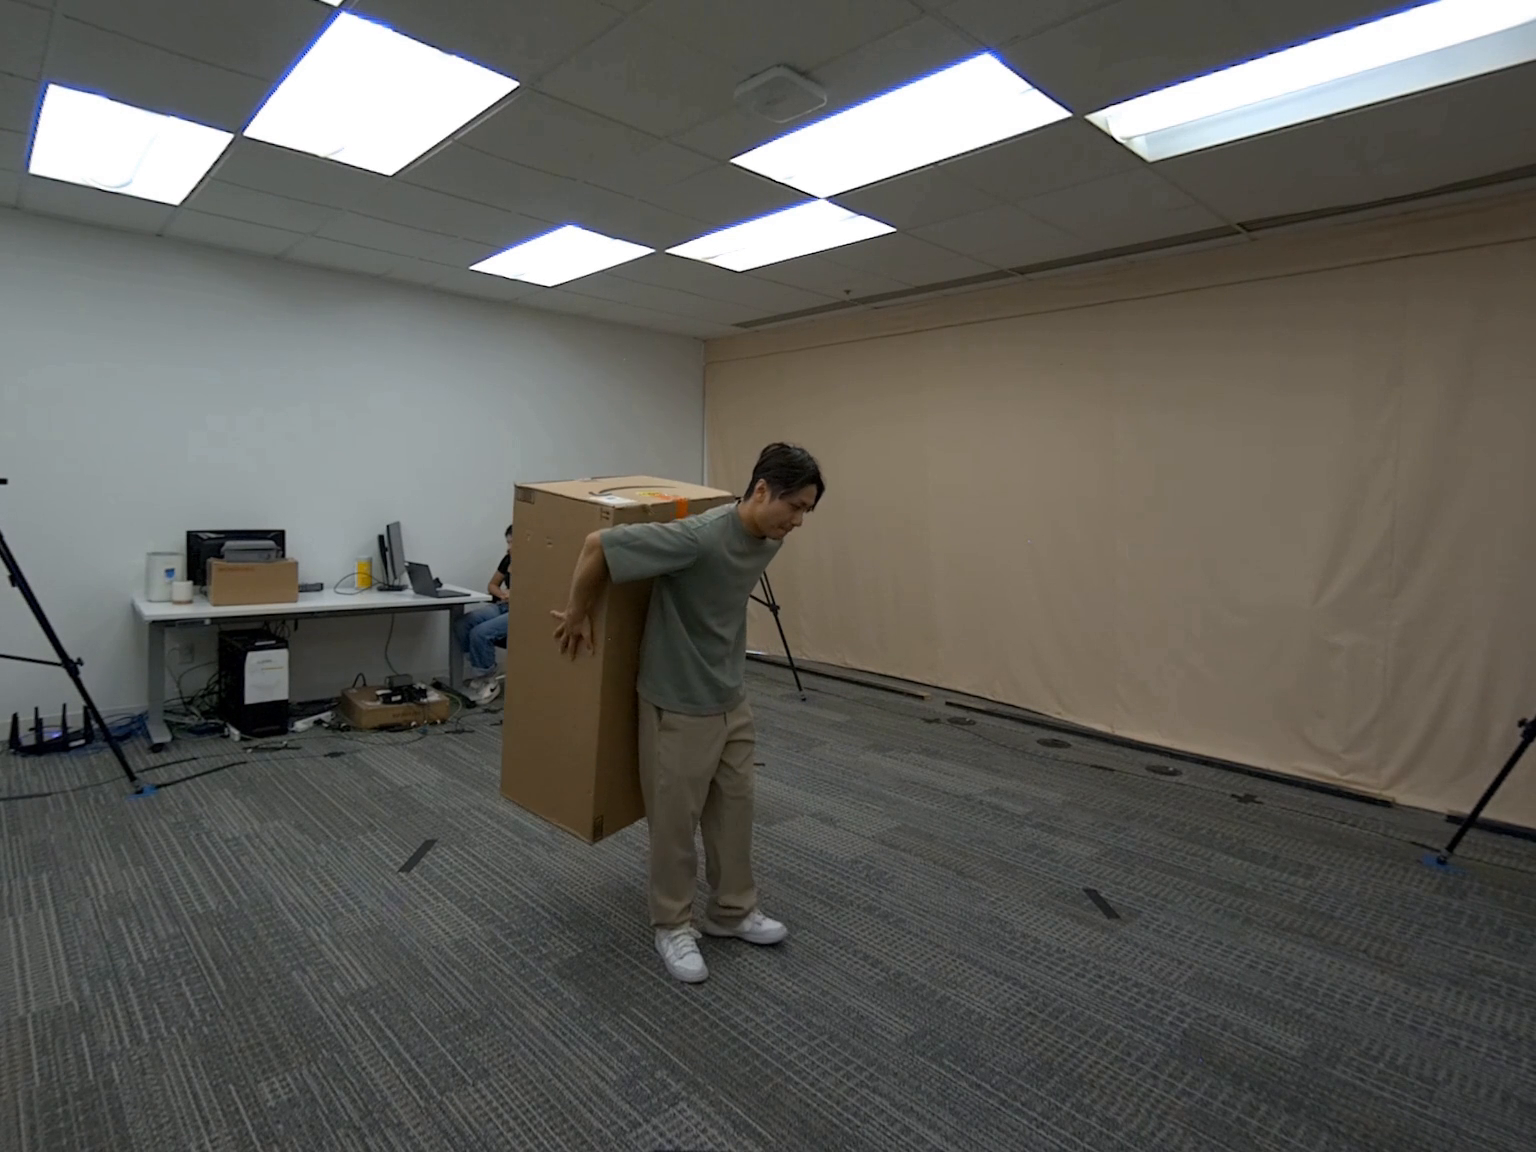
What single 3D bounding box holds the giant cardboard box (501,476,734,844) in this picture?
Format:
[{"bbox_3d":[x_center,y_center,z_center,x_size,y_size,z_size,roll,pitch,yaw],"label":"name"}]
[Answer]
[{"bbox_3d":[-0.489,0.225,2.737,0.437,1.018,0.567,13,14,33],"label":"giant cardboard box"}]
